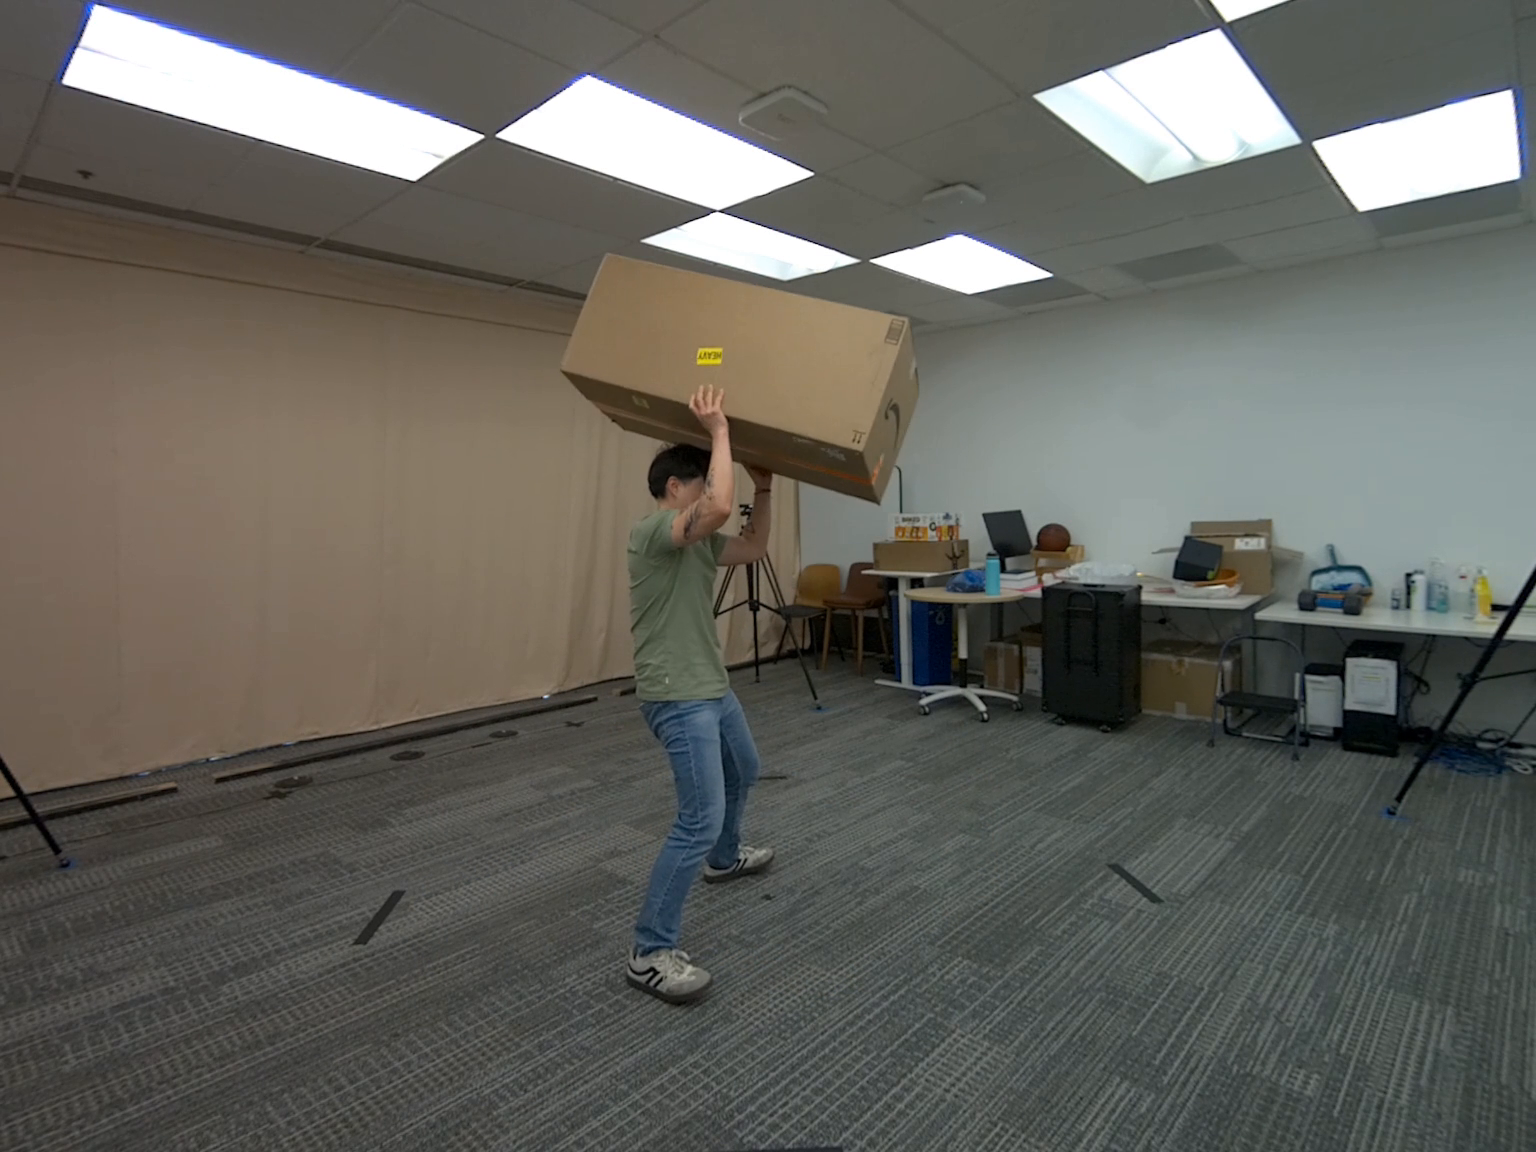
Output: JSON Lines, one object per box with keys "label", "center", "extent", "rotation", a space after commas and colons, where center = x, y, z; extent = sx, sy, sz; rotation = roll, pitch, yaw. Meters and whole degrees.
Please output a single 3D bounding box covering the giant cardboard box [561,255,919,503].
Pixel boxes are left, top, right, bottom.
{"label": "giant cardboard box", "center": [-0.058, -0.633, 2.829], "extent": [1.049, 0.427, 0.564], "rotation": [19, -7, 18]}
